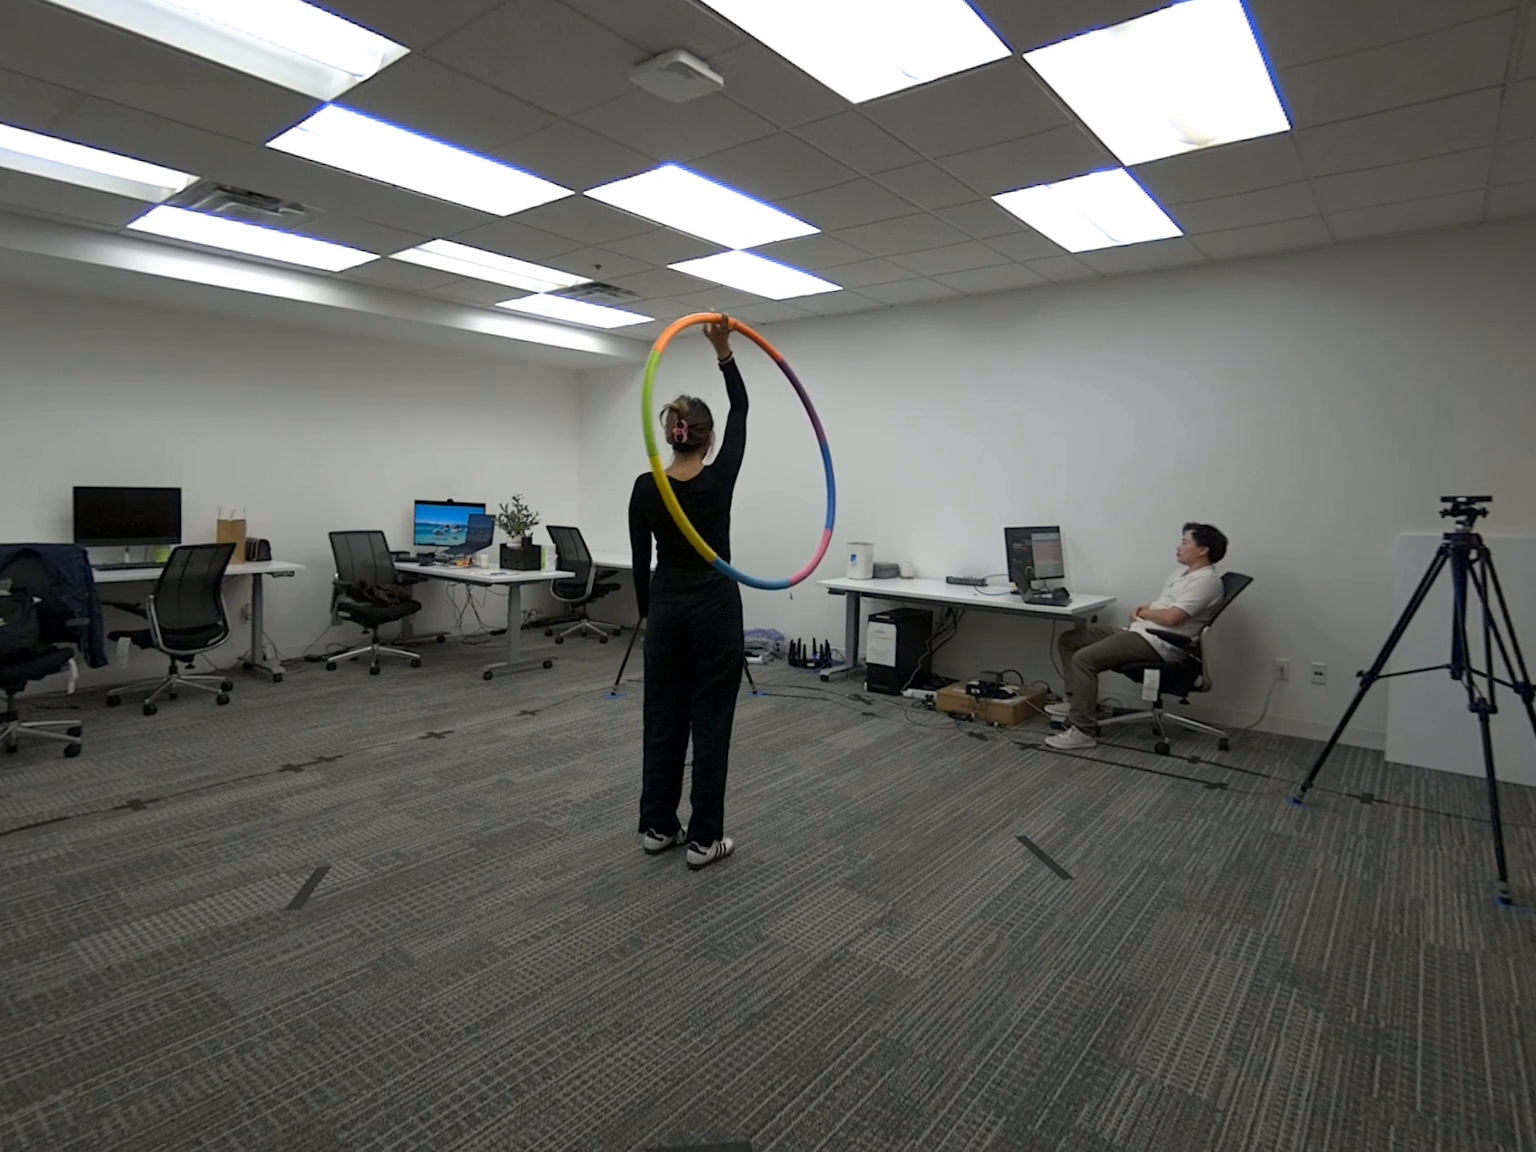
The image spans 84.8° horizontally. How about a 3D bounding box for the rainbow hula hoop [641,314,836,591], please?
[{"bbox_3d":[-0.090,-0.442,2.955,0.052,0.995,0.956,-19,-10,39],"label":"rainbow hula hoop"}]
